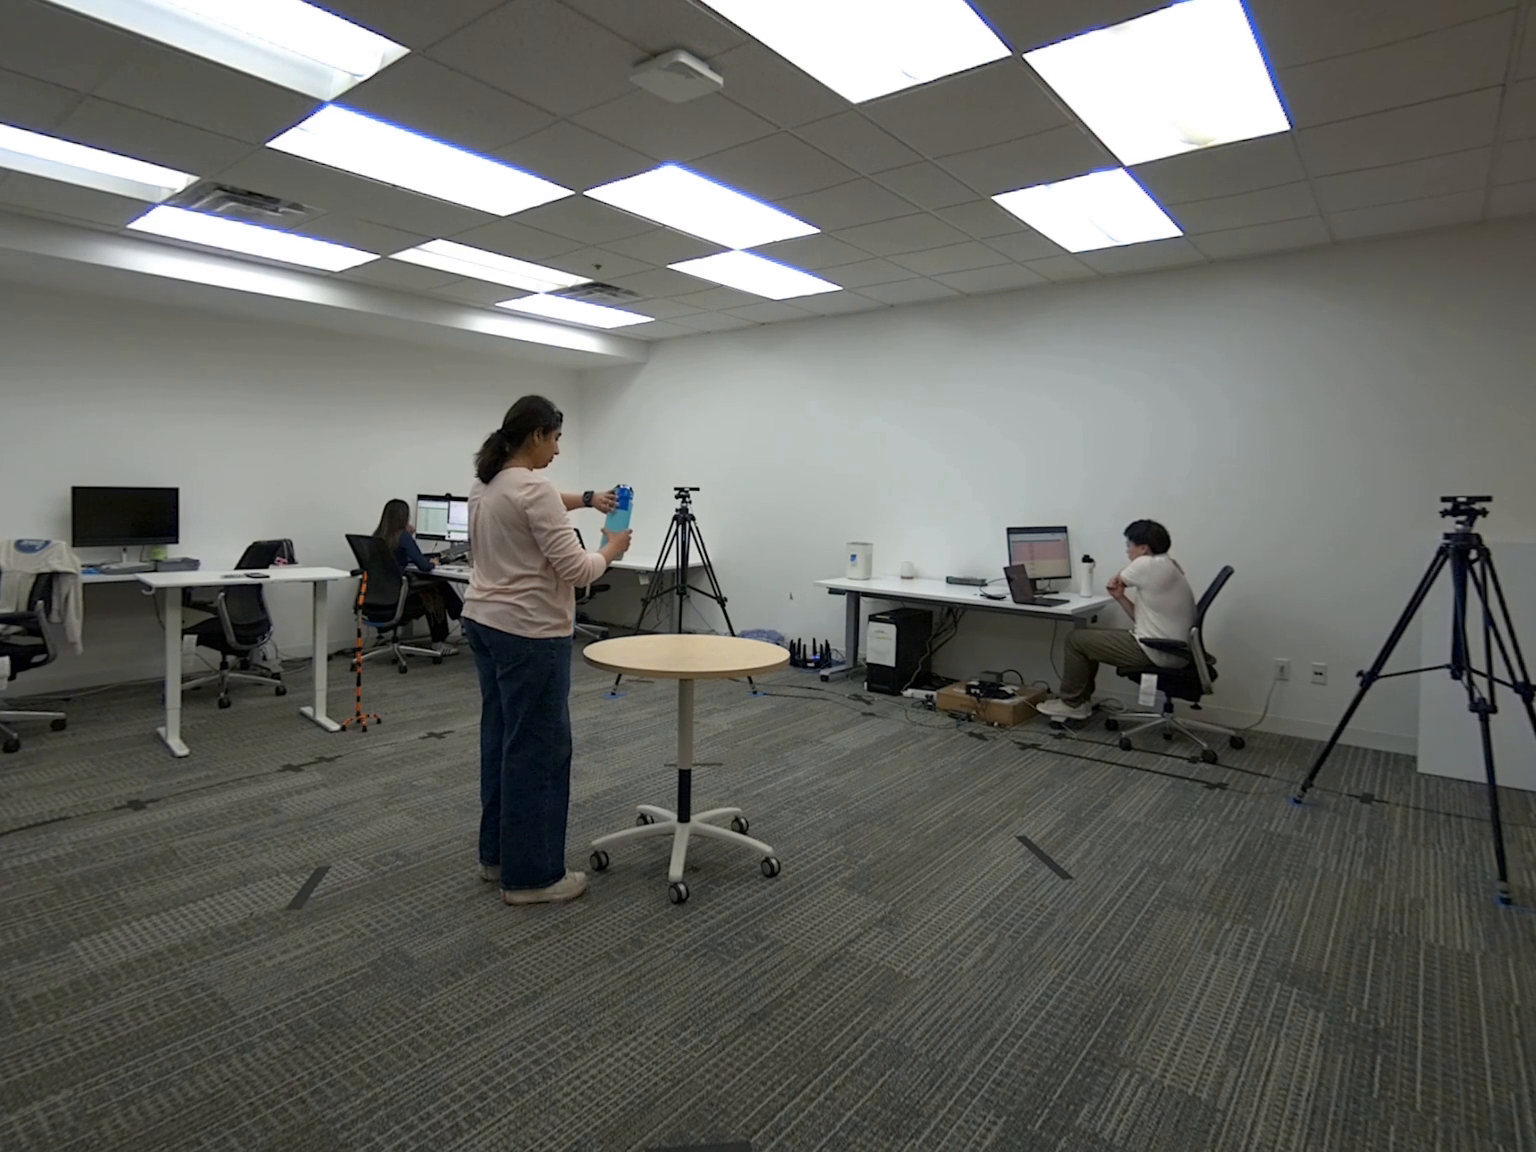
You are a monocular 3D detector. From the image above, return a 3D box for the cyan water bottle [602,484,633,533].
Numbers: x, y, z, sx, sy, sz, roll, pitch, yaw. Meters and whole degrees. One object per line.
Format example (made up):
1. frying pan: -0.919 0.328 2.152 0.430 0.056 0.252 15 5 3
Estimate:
1. cyan water bottle: -0.568 -0.204 3.117 0.092 0.286 0.091 11 -13 0
